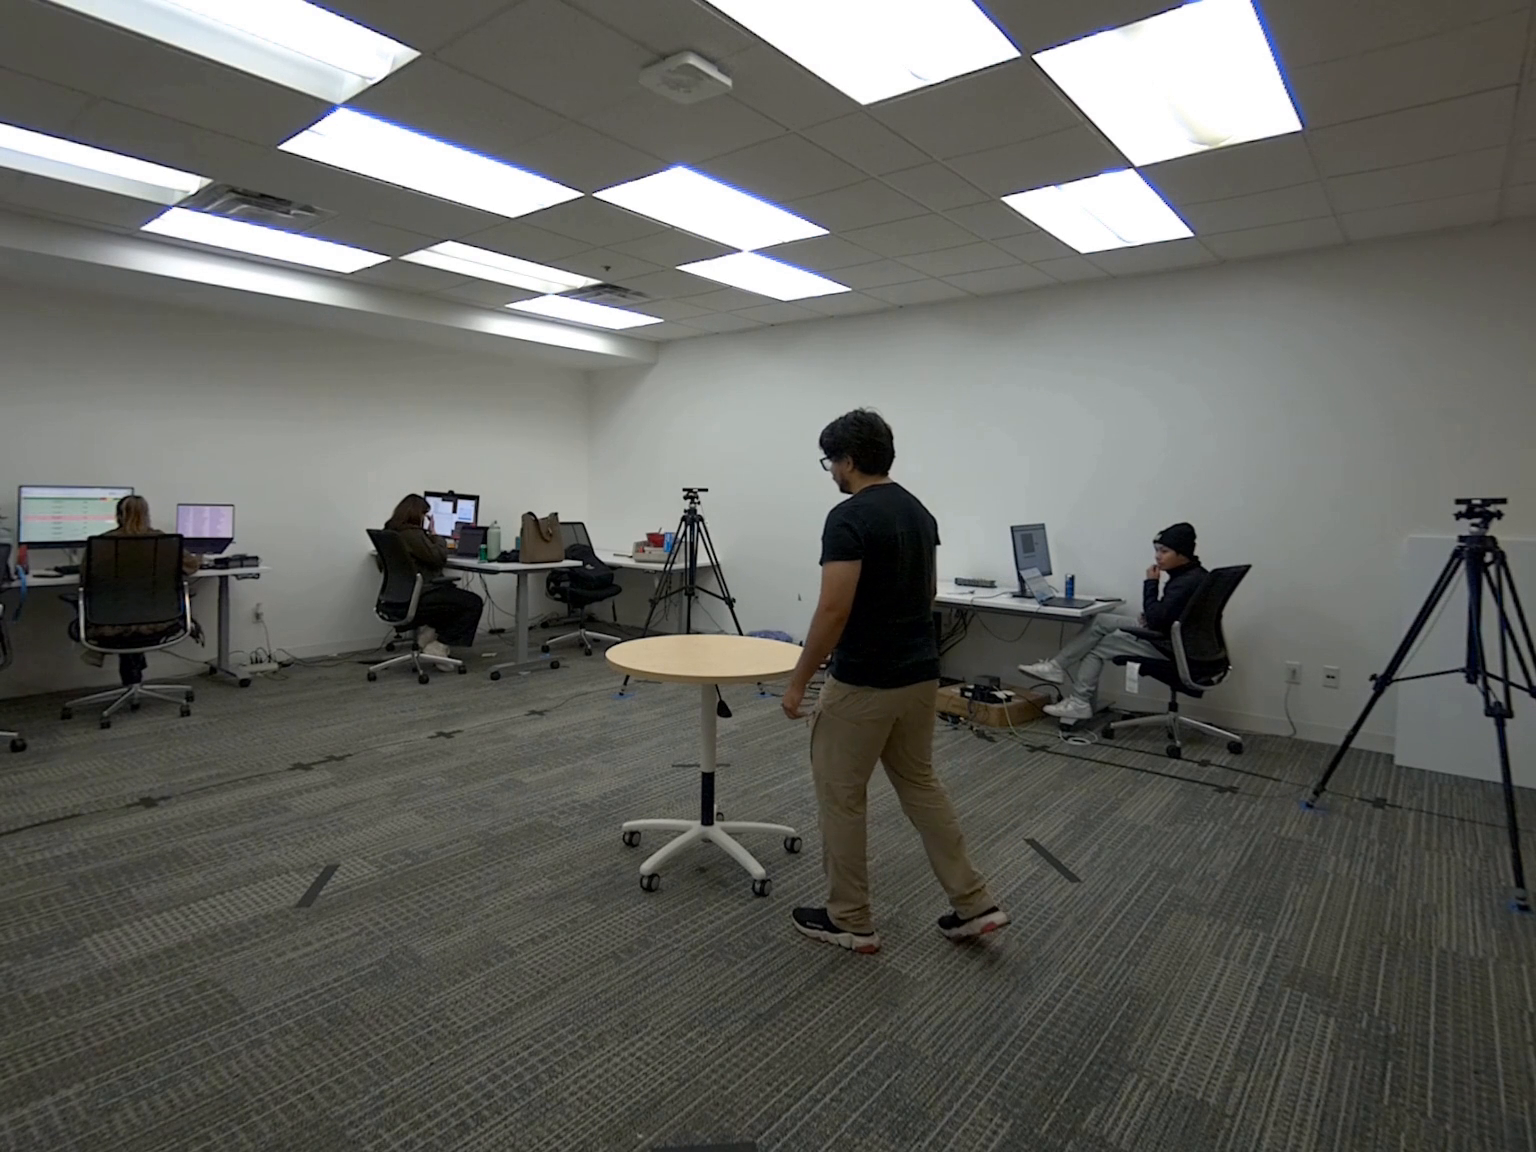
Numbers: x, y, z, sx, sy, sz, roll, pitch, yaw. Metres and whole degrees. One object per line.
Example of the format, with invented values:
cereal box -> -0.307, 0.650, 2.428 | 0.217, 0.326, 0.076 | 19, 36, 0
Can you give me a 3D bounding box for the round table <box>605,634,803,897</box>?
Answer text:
round table -> -0.244, 0.671, 3.157 | 0.784, 0.784, 0.789 | 1, 4, -2
